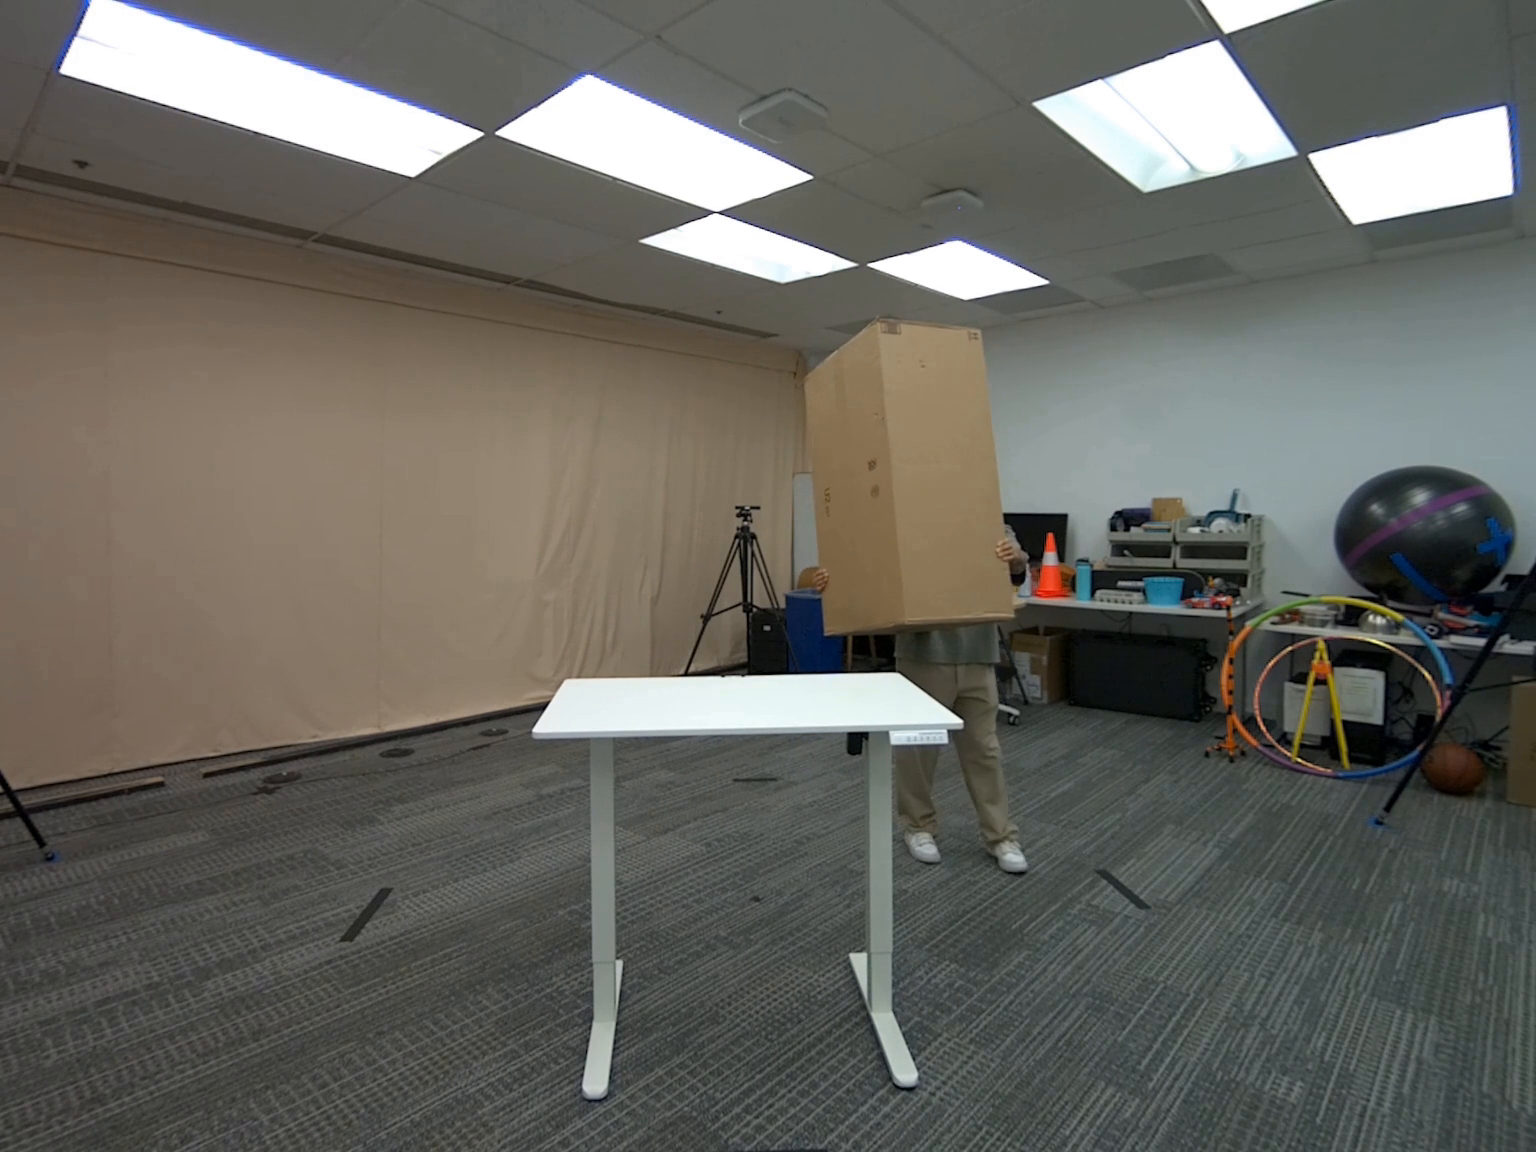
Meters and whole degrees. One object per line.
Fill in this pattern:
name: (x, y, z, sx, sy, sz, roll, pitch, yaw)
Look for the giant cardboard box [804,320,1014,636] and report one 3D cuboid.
giant cardboard box: (0.489, -0.315, 3.064, 0.417, 1.032, 0.587, 0, -9, -23)
